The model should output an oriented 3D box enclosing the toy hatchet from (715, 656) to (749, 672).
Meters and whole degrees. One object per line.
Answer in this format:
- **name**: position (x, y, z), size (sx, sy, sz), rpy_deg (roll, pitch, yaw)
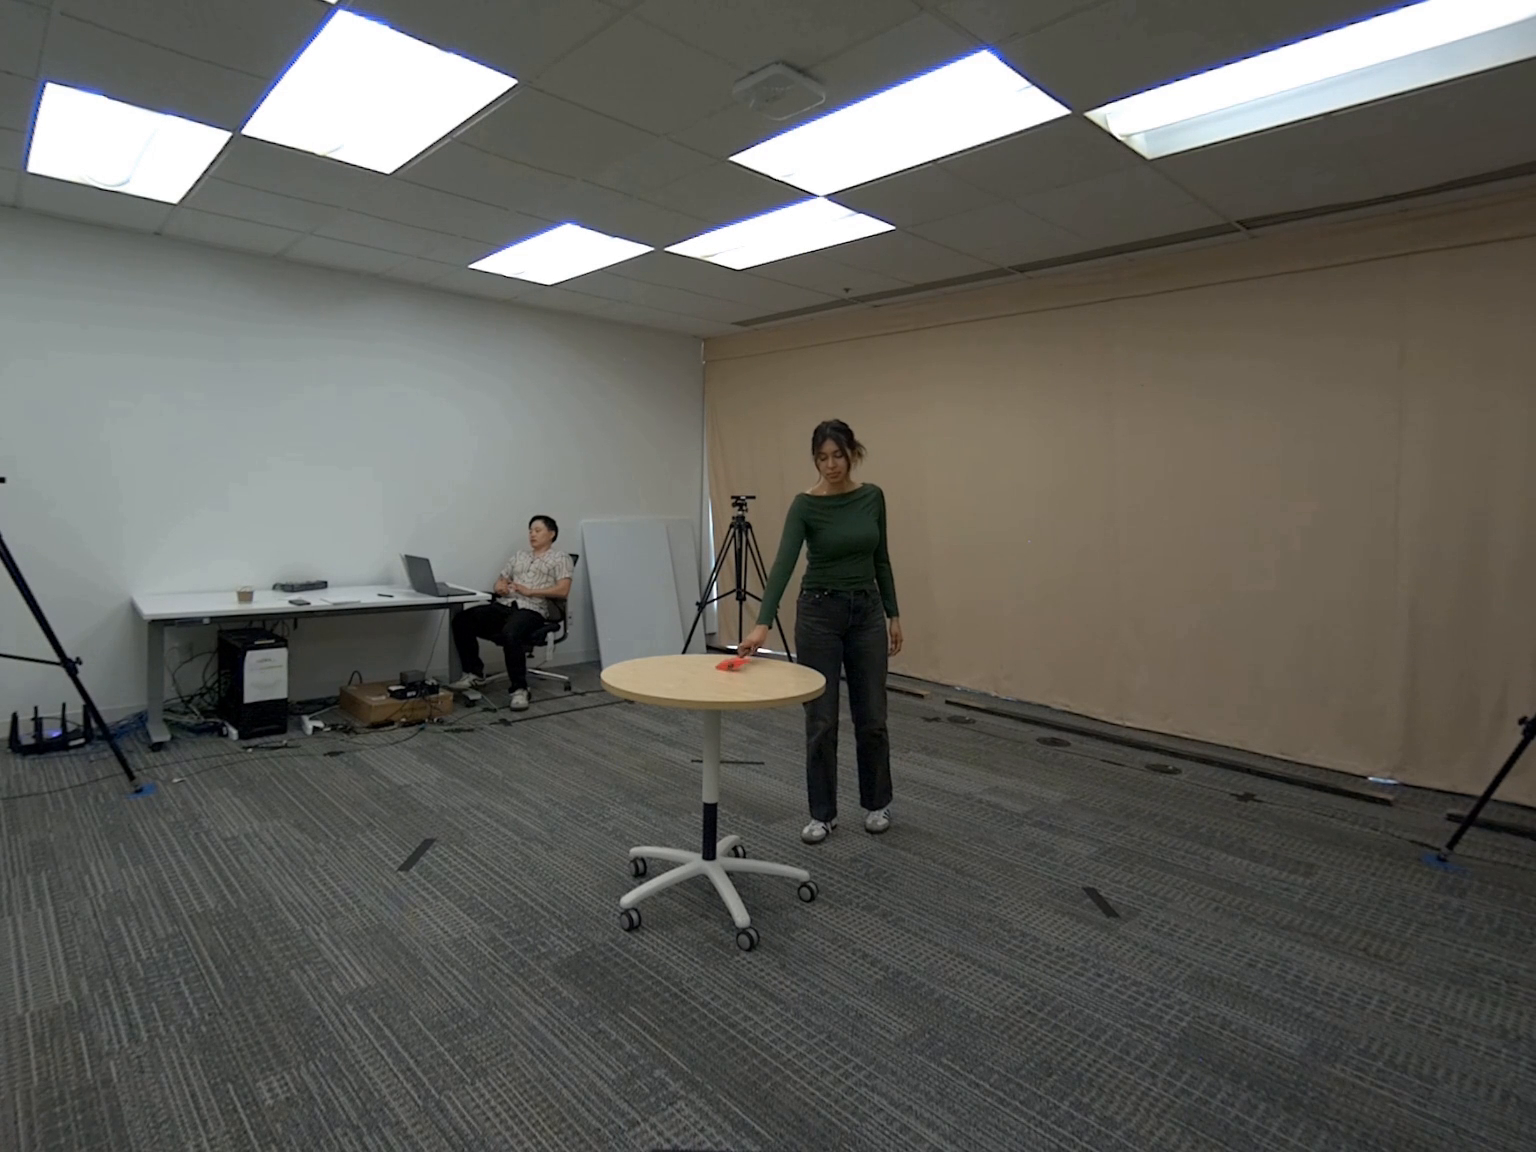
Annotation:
- **toy hatchet**: position (-0.135, 0.293, 3.050), size (0.131, 0.029, 0.271), rpy_deg (-20, 6, -1)
